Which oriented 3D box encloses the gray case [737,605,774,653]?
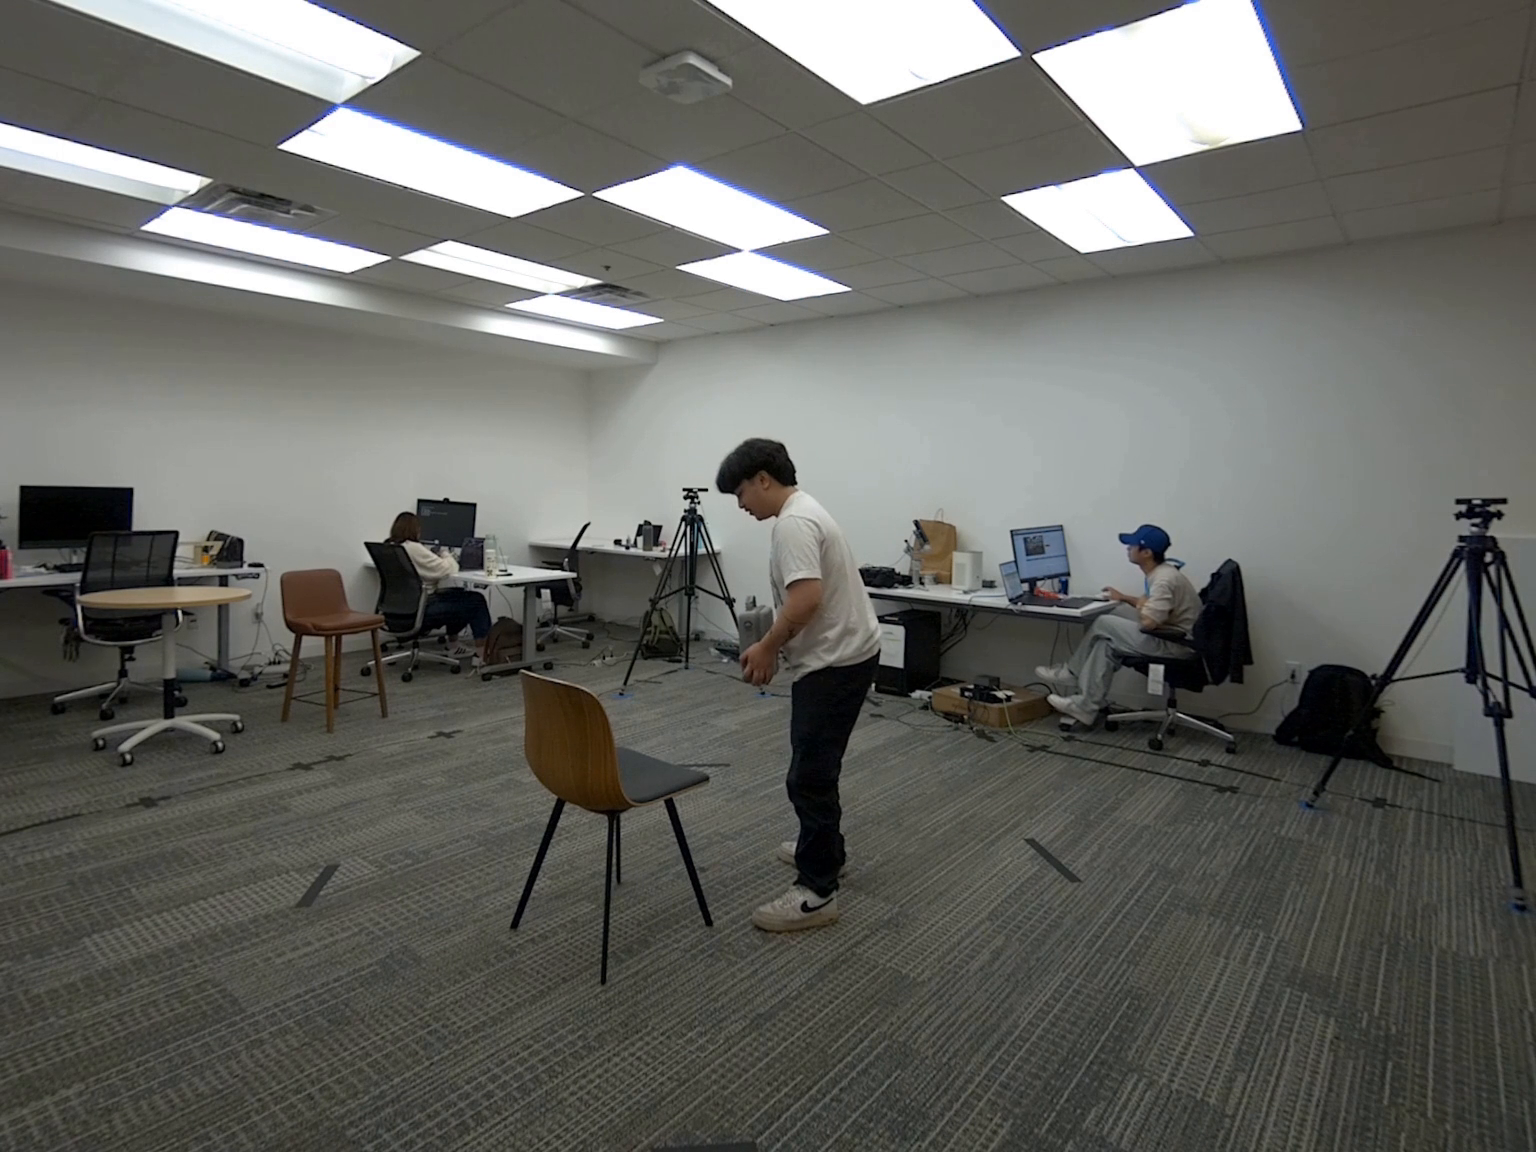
[{"bbox_3d":[-0.044,0.233,3.022,0.105,0.261,0.254,-6,-1,9],"label":"gray case"}]
